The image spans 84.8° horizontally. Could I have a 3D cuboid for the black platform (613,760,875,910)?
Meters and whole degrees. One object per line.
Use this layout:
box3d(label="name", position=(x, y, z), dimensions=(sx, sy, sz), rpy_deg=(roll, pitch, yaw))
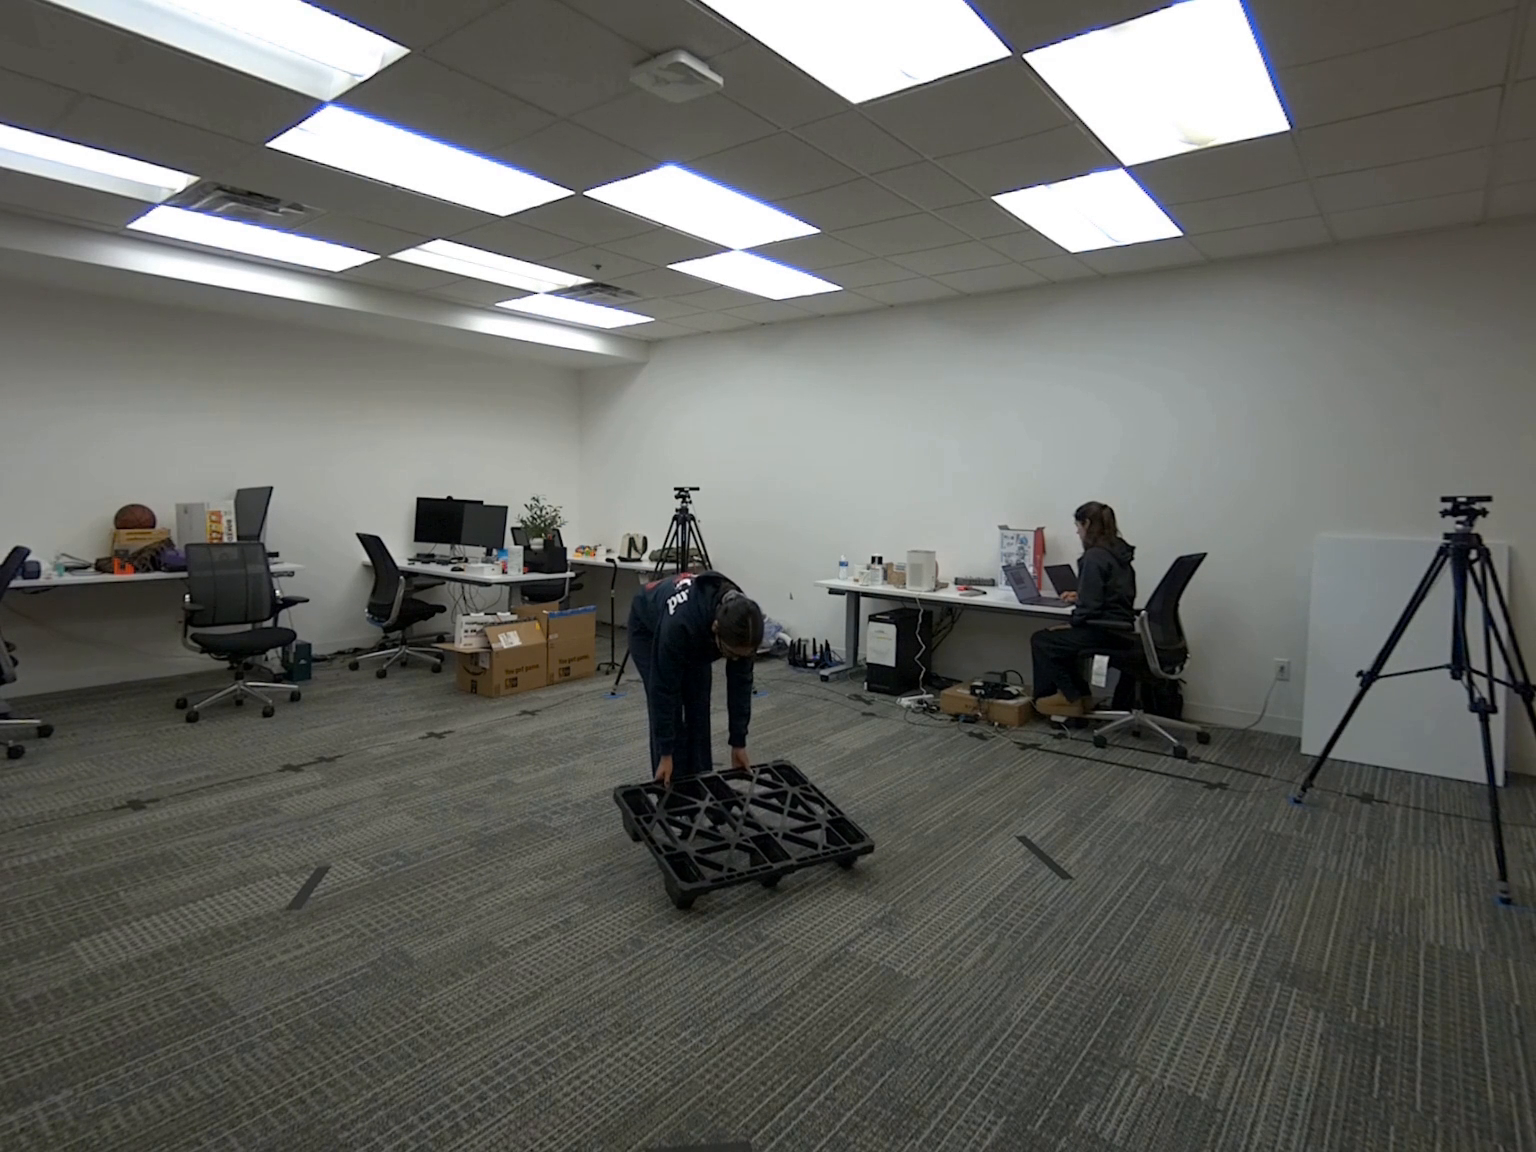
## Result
box3d(label="black platform", position=(-0.112, 0.943, 3.150), dimensions=(0.784, 0.141, 0.630), rpy_deg=(-3, 21, -31))
